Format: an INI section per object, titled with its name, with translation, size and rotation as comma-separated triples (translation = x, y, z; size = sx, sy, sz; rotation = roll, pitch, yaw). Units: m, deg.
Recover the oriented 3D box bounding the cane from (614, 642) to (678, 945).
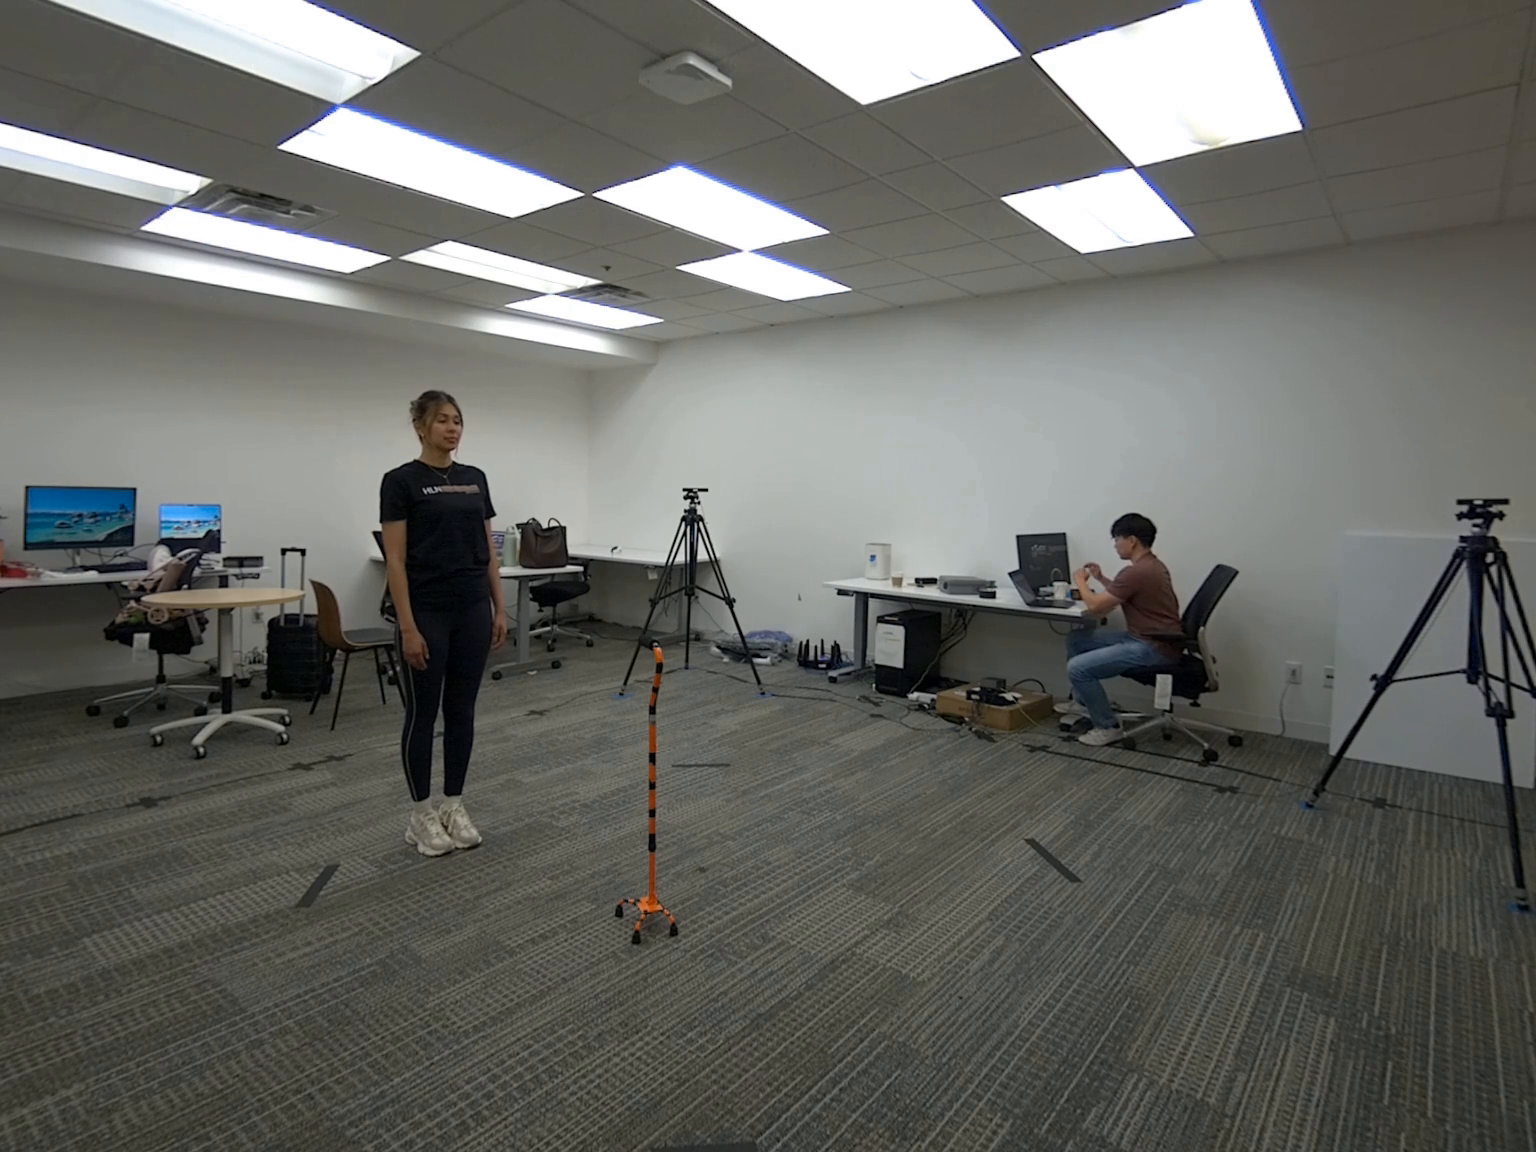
[cane]
translation = -0.388, 0.656, 2.679
size = 0.148, 0.906, 0.212
rotation = 1, 3, -23
